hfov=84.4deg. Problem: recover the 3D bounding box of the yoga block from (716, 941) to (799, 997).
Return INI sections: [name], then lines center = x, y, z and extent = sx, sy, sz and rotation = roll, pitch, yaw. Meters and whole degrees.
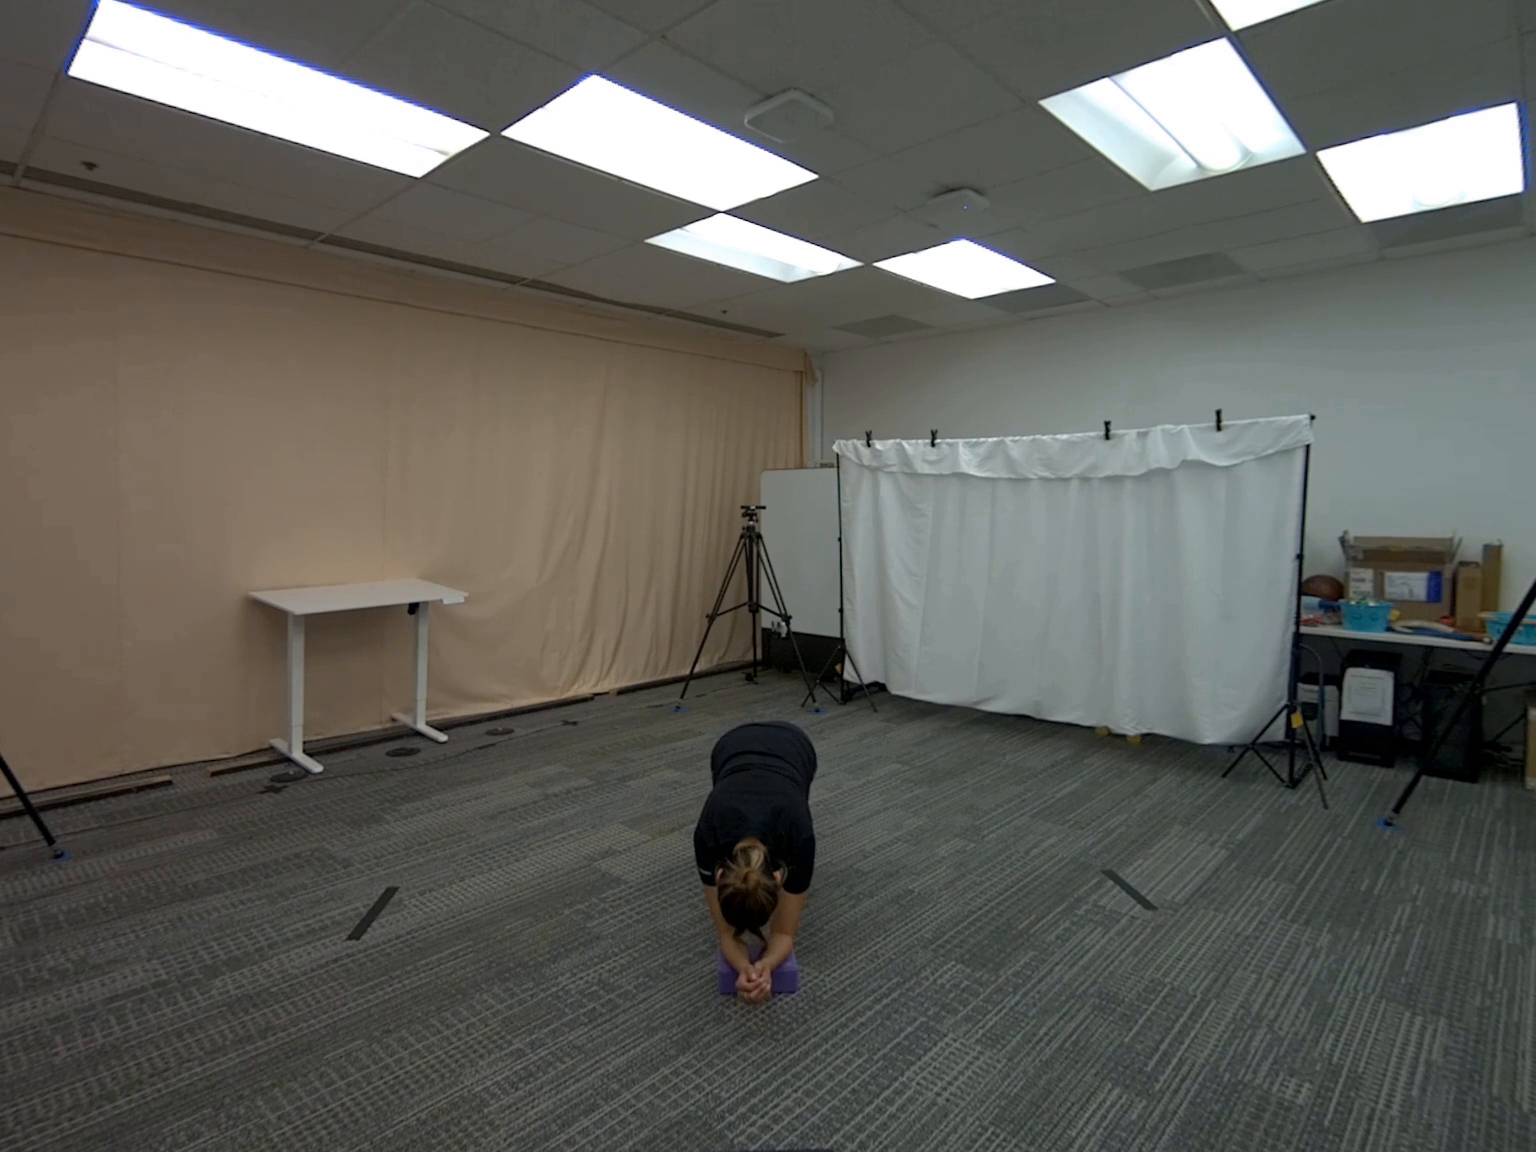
[yoga block]
center = -0.031, 1.140, 2.469
extent = 0.229, 0.076, 0.150
rotation = 0, 6, -2
